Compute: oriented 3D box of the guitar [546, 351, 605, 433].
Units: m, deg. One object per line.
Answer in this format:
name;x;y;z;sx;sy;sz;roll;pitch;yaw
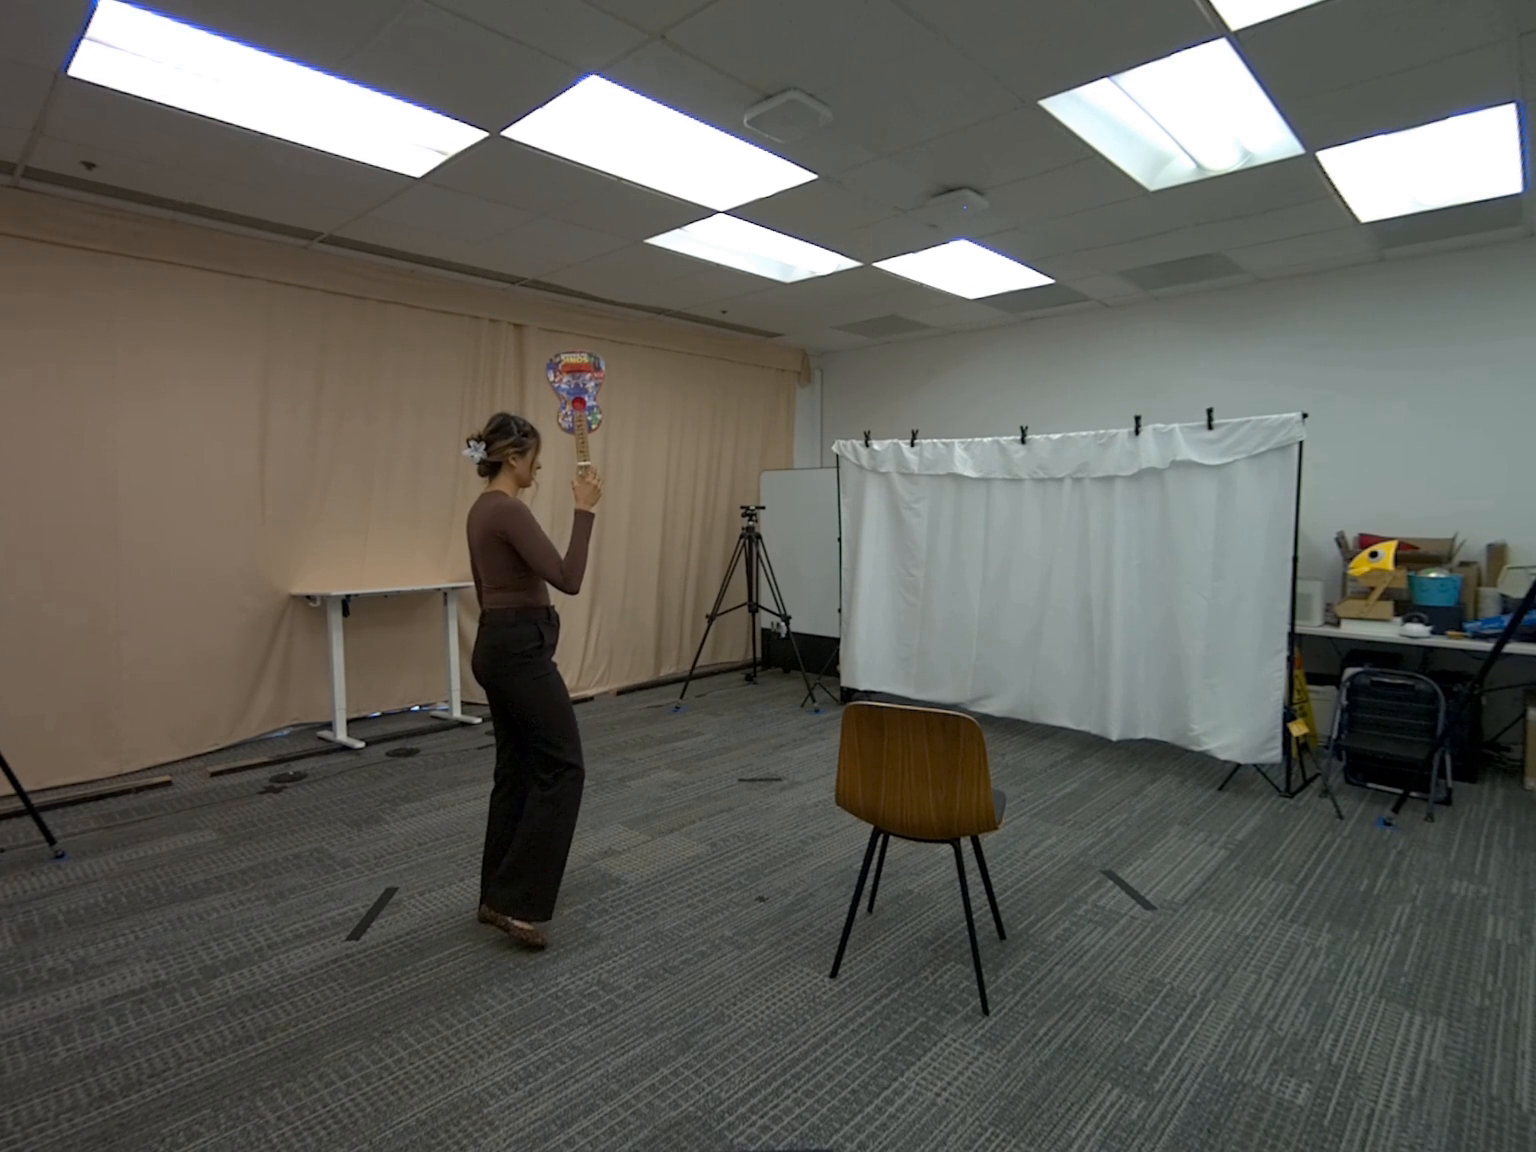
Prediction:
guitar;-0.636;-0.486;2.731;0.191;0.498;0.071;4;-2;-10
